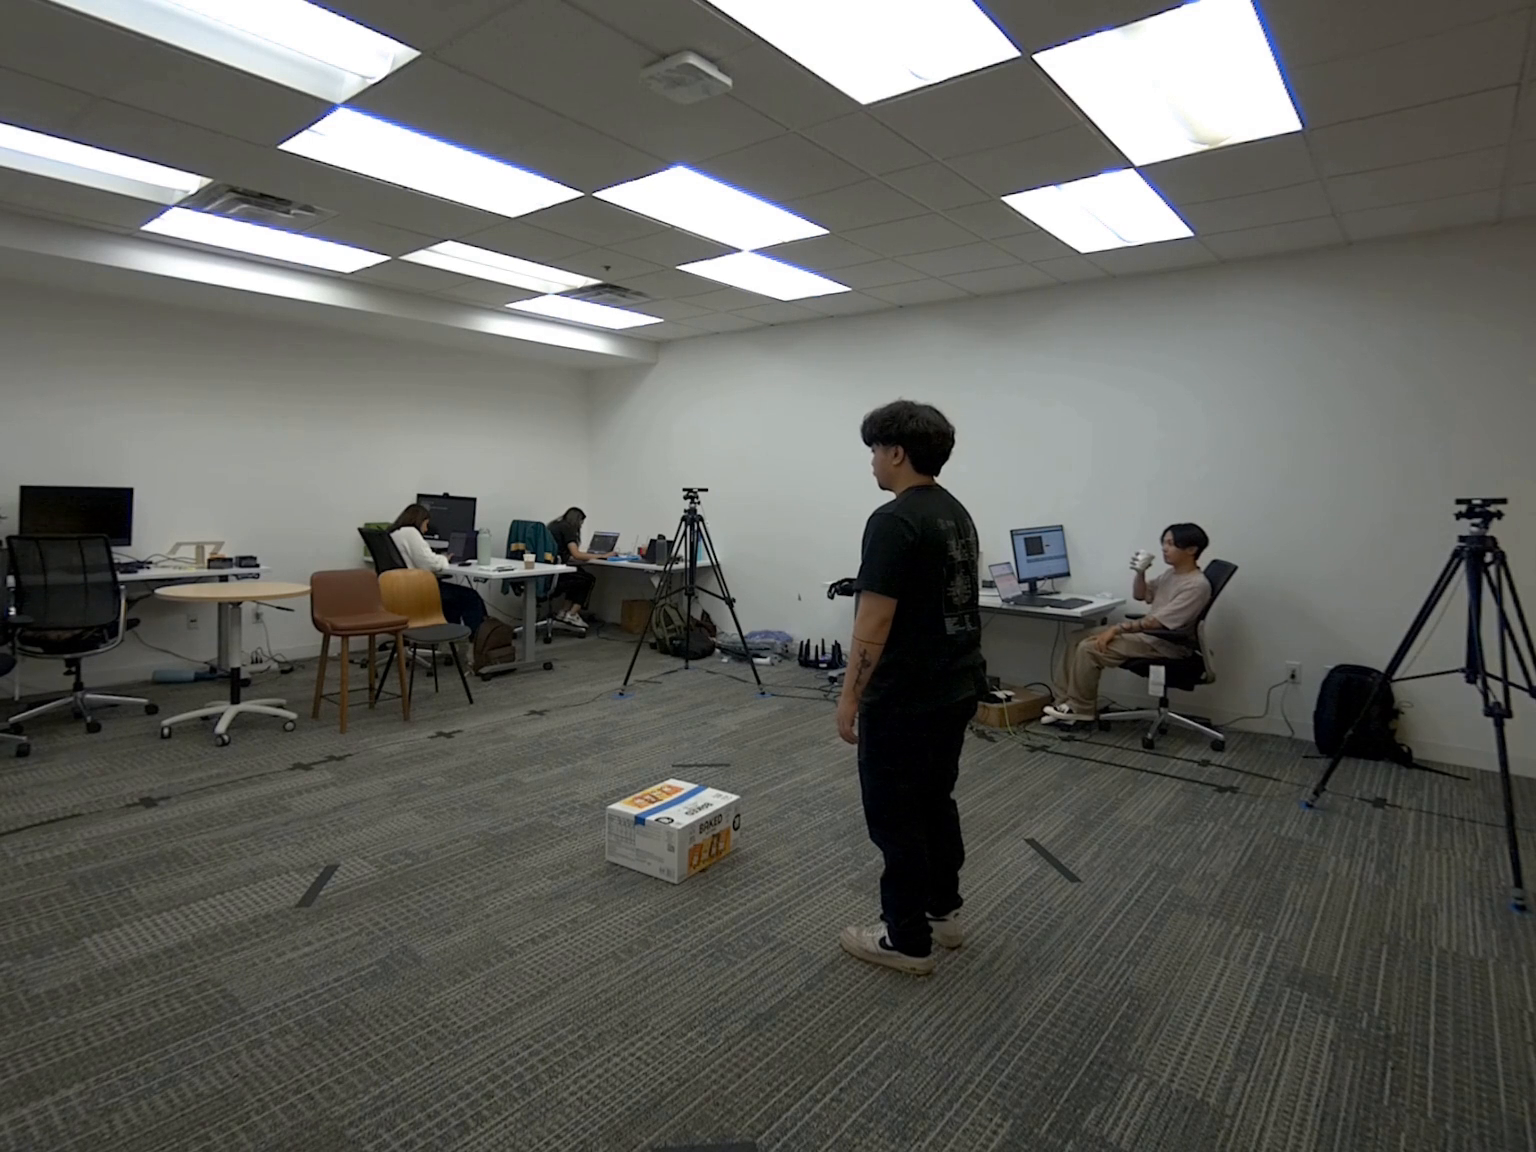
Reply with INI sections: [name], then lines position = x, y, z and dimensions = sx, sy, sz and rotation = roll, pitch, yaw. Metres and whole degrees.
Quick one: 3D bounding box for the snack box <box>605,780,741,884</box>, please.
[snack box]
position = -0.365, 0.953, 3.226
dimensions = 0.351, 0.205, 0.394
rotation = 4, 5, 32
